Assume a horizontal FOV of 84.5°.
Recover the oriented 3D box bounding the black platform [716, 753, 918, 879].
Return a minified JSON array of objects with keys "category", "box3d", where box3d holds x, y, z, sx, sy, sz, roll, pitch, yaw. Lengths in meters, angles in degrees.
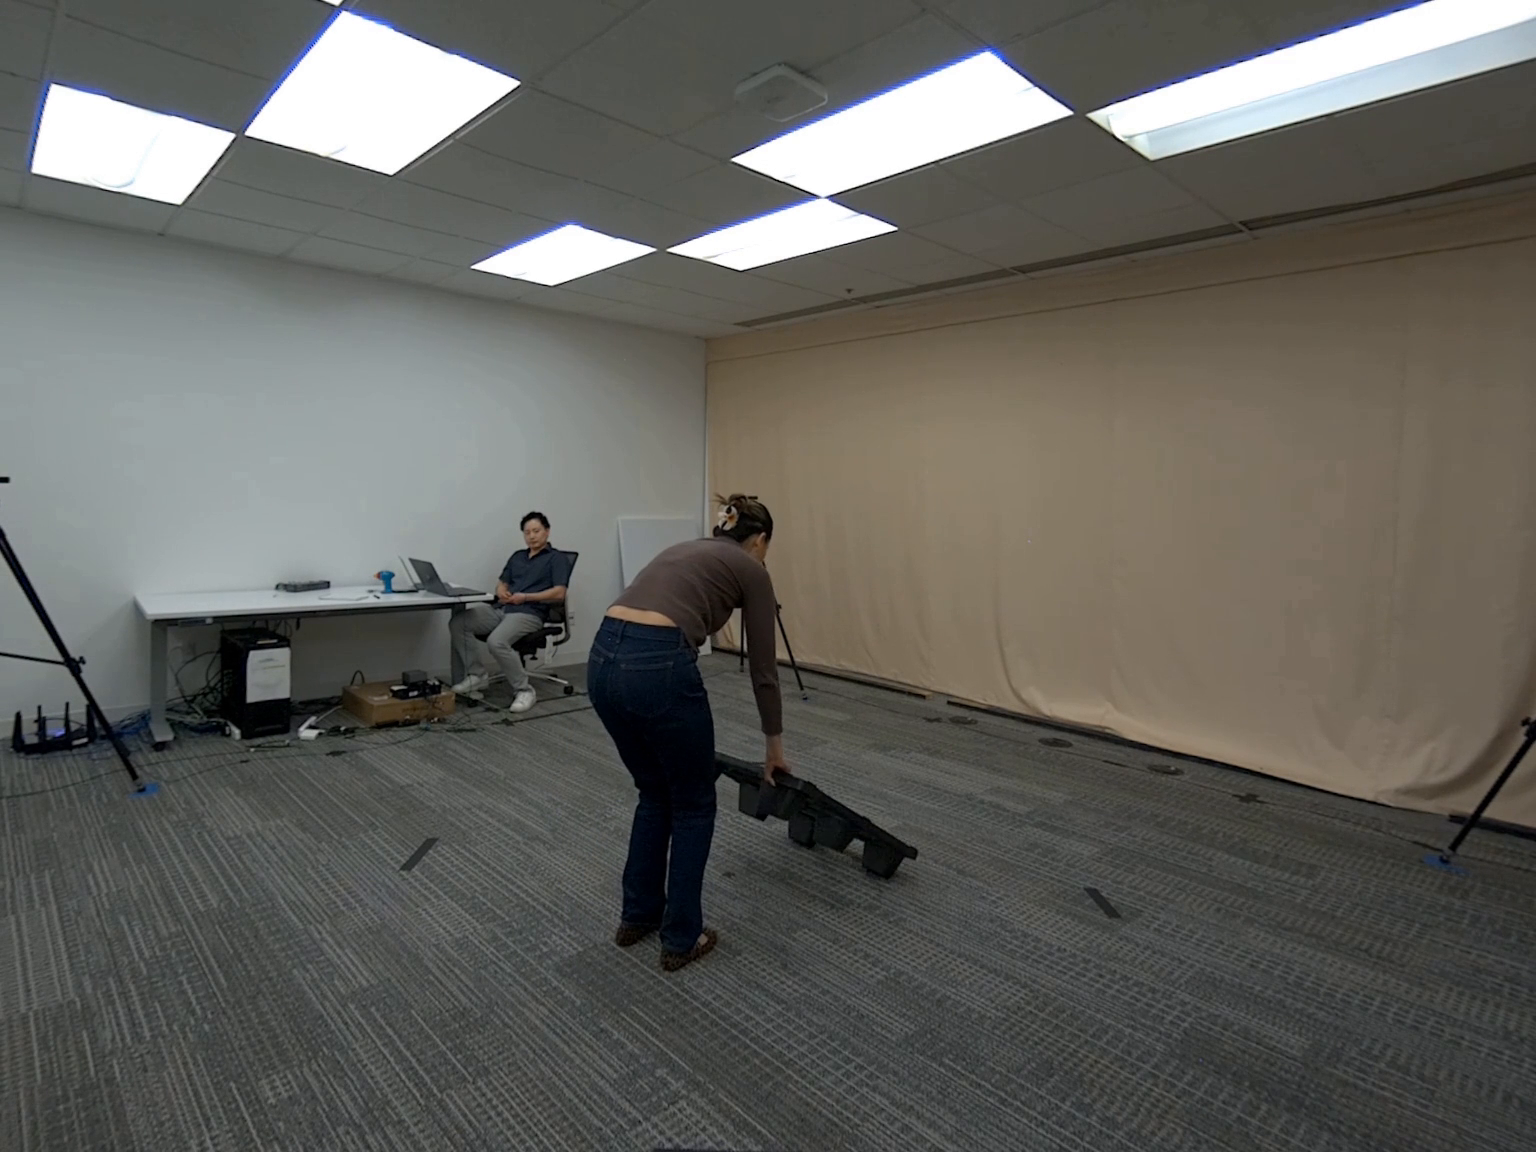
[{"category":"black platform","box3d":[0.086,0.861,3.060,0.620,0.144,0.780,5,-27,44]}]
